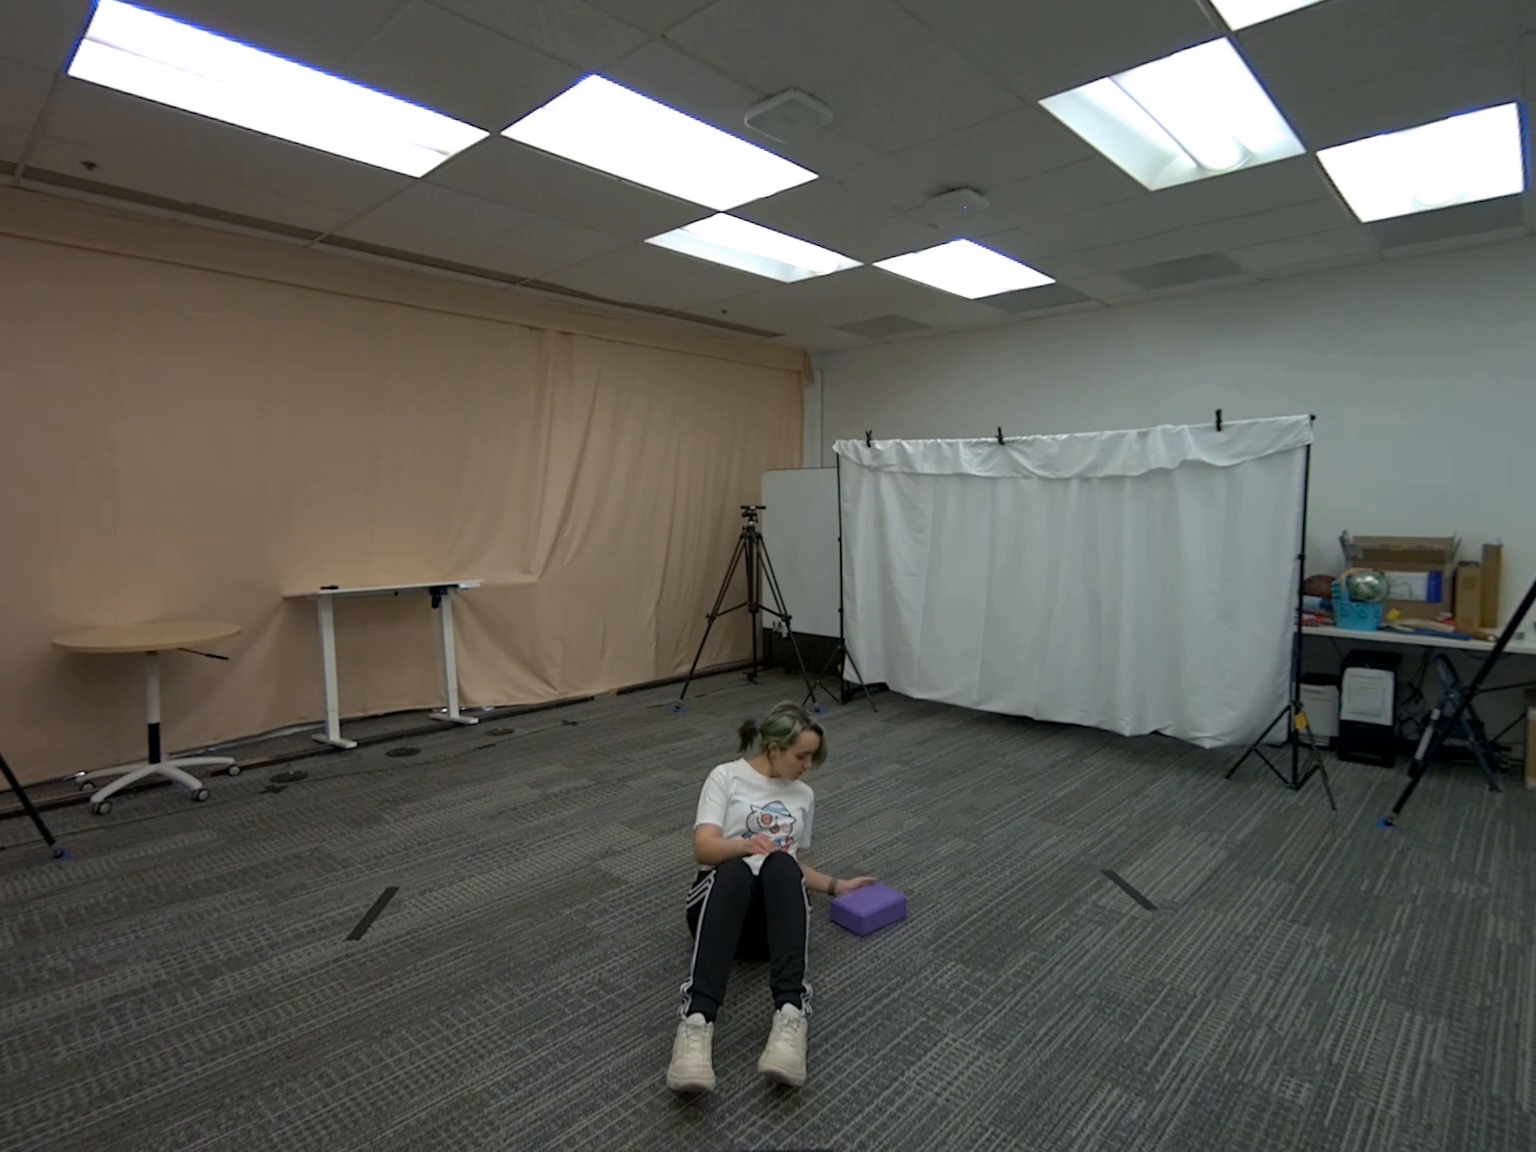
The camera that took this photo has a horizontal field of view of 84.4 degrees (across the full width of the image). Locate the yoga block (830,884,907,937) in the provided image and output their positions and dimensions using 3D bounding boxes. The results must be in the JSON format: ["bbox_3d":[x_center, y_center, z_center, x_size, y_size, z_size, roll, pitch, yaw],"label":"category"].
[{"bbox_3d":[0.346,1.118,2.819,0.222,0.076,0.154,-2,5,-38],"label":"yoga block"}]
